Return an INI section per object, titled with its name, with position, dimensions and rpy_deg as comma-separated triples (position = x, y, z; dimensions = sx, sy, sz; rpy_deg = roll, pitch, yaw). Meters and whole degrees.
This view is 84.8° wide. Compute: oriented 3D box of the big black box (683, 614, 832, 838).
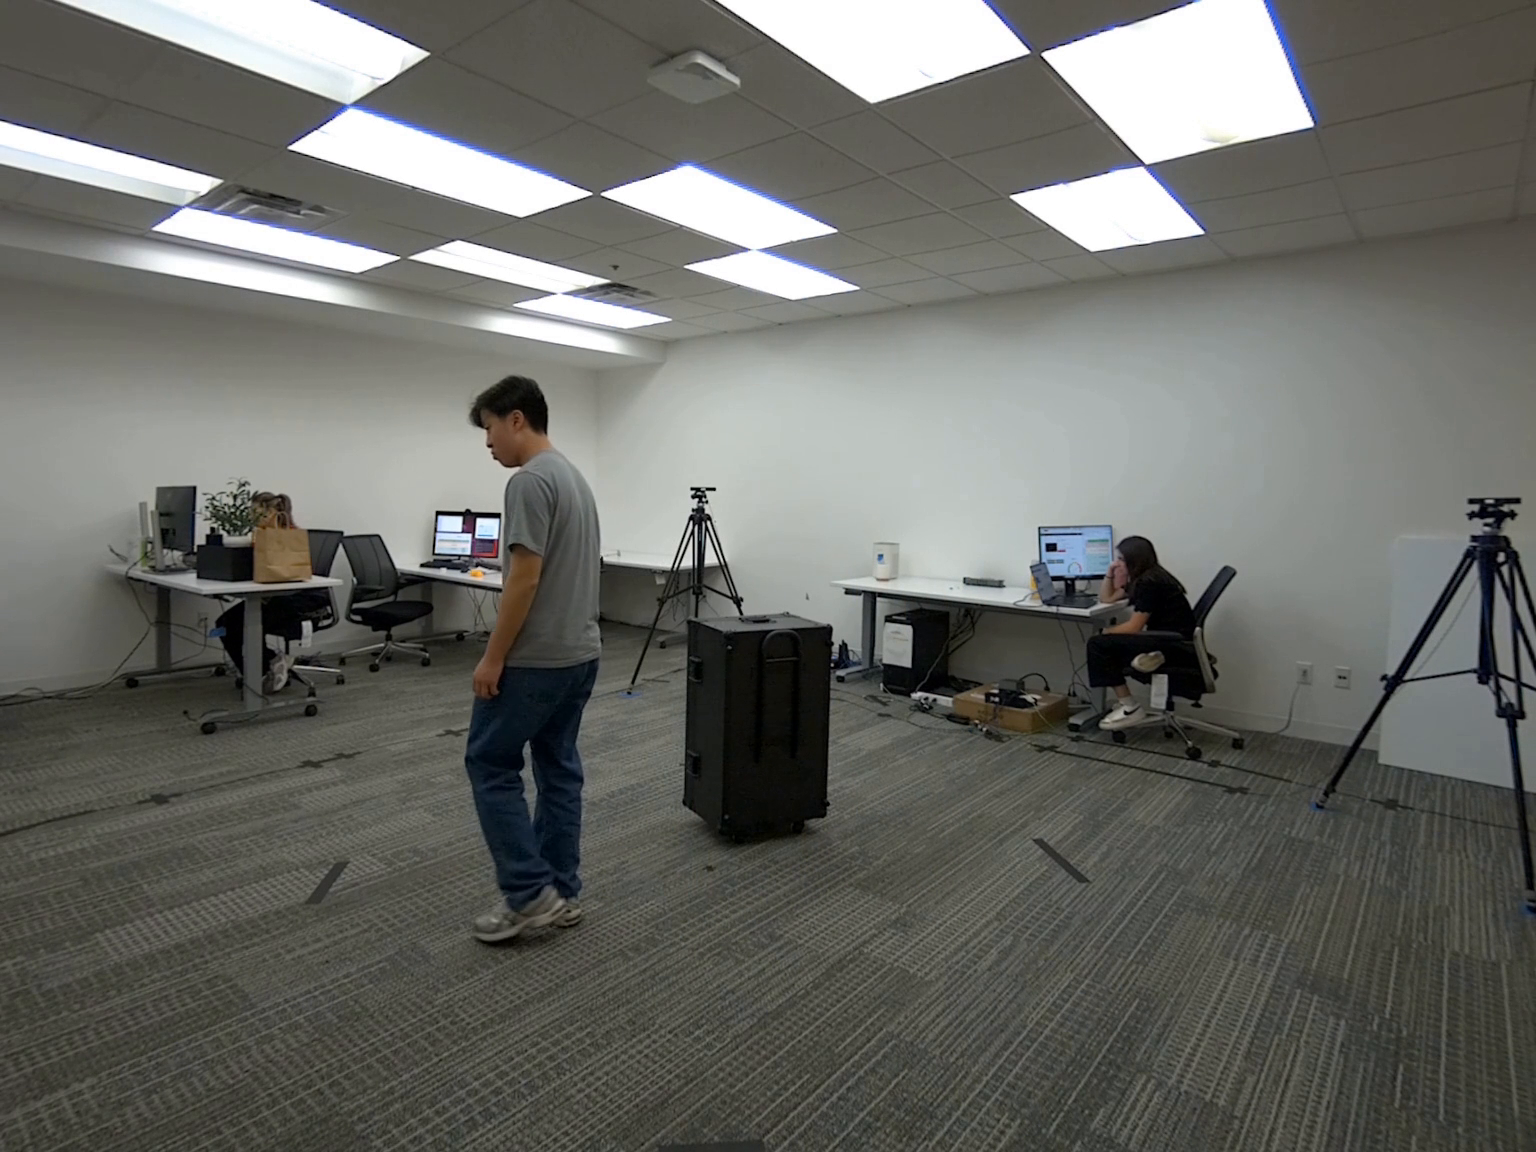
[big black box]
position = -0.048, 0.607, 3.471
dimensions = 0.508, 0.858, 0.408
rpy_deg = 0, 5, -28
